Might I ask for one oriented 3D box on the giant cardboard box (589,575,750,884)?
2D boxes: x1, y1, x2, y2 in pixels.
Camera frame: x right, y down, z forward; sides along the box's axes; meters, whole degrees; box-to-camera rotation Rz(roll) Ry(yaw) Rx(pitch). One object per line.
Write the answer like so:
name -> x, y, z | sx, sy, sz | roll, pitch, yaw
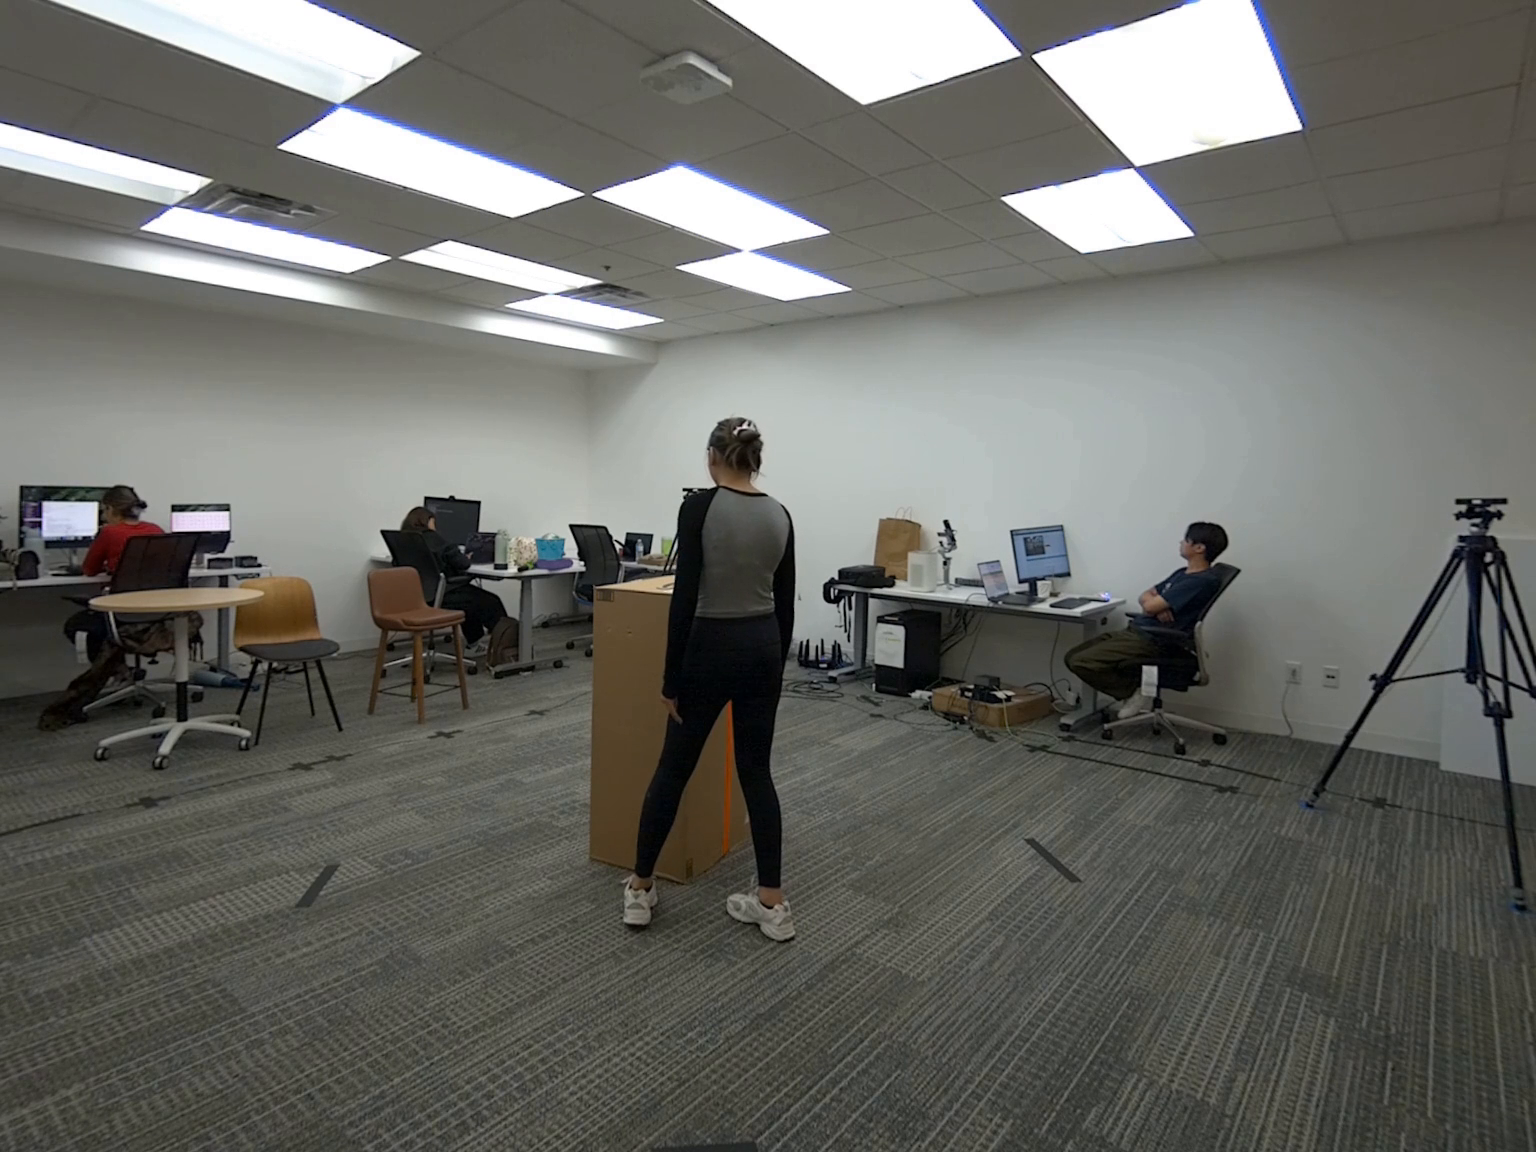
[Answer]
giant cardboard box -> -0.359, 0.539, 3.306 | 0.438, 1.023, 0.563 | 3, 4, 27
